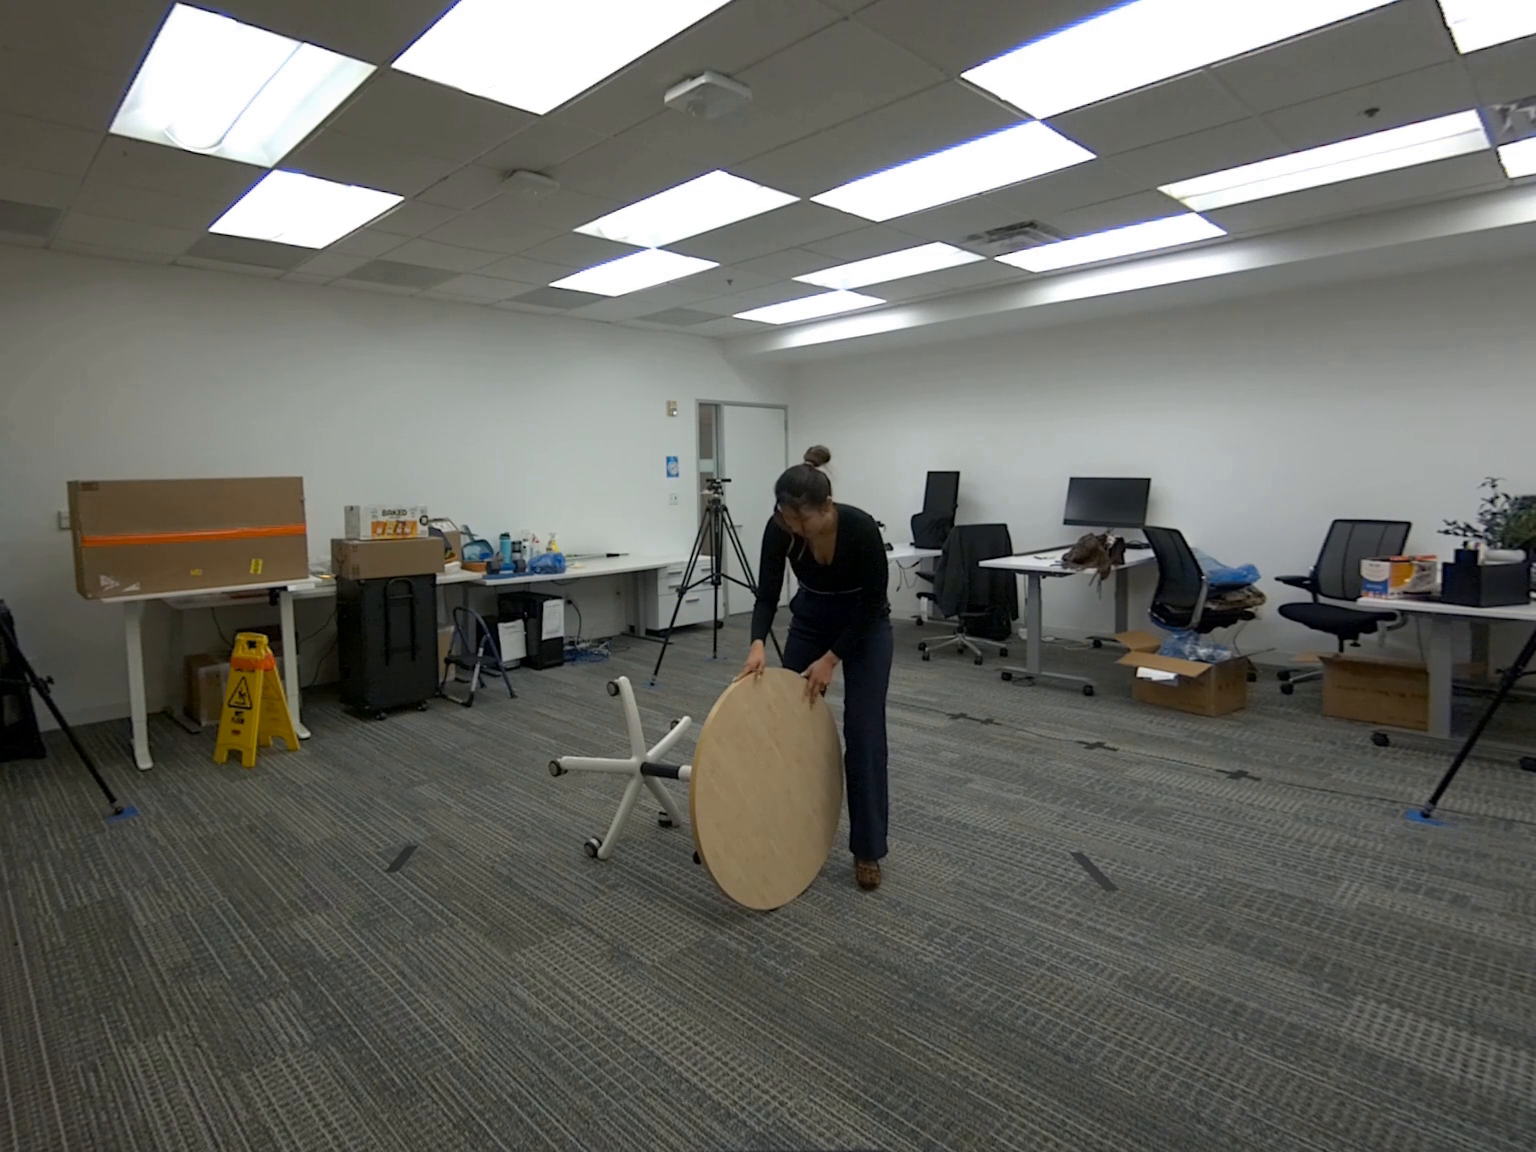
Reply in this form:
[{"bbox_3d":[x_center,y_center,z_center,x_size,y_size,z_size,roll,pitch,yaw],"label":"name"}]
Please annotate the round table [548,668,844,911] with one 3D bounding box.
[{"bbox_3d":[-0.271,0.721,3.095,0.814,0.765,0.744,-6,0,42],"label":"round table"}]
